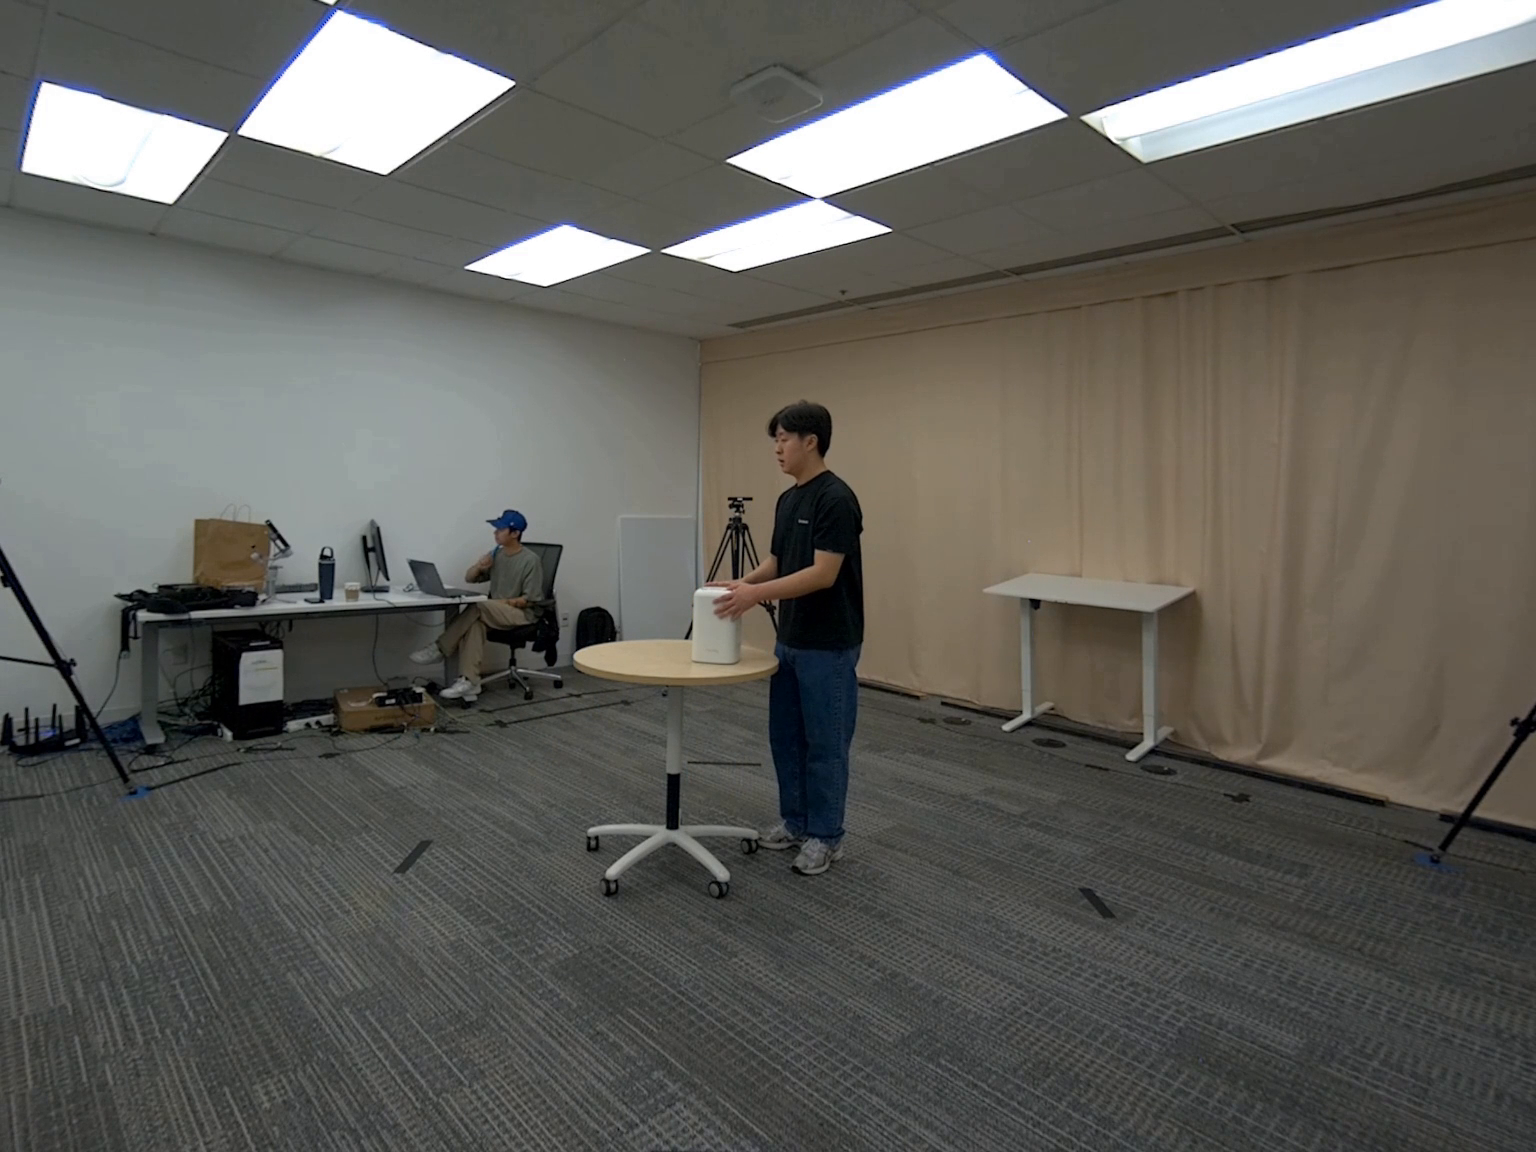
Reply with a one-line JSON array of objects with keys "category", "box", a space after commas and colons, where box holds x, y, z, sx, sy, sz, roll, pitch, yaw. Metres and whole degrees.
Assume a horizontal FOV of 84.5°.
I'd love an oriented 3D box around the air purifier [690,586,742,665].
[{"category": "air purifier", "box": [-0.188, 0.181, 3.104, 0.172, 0.264, 0.171, 1, 6, 9]}]
